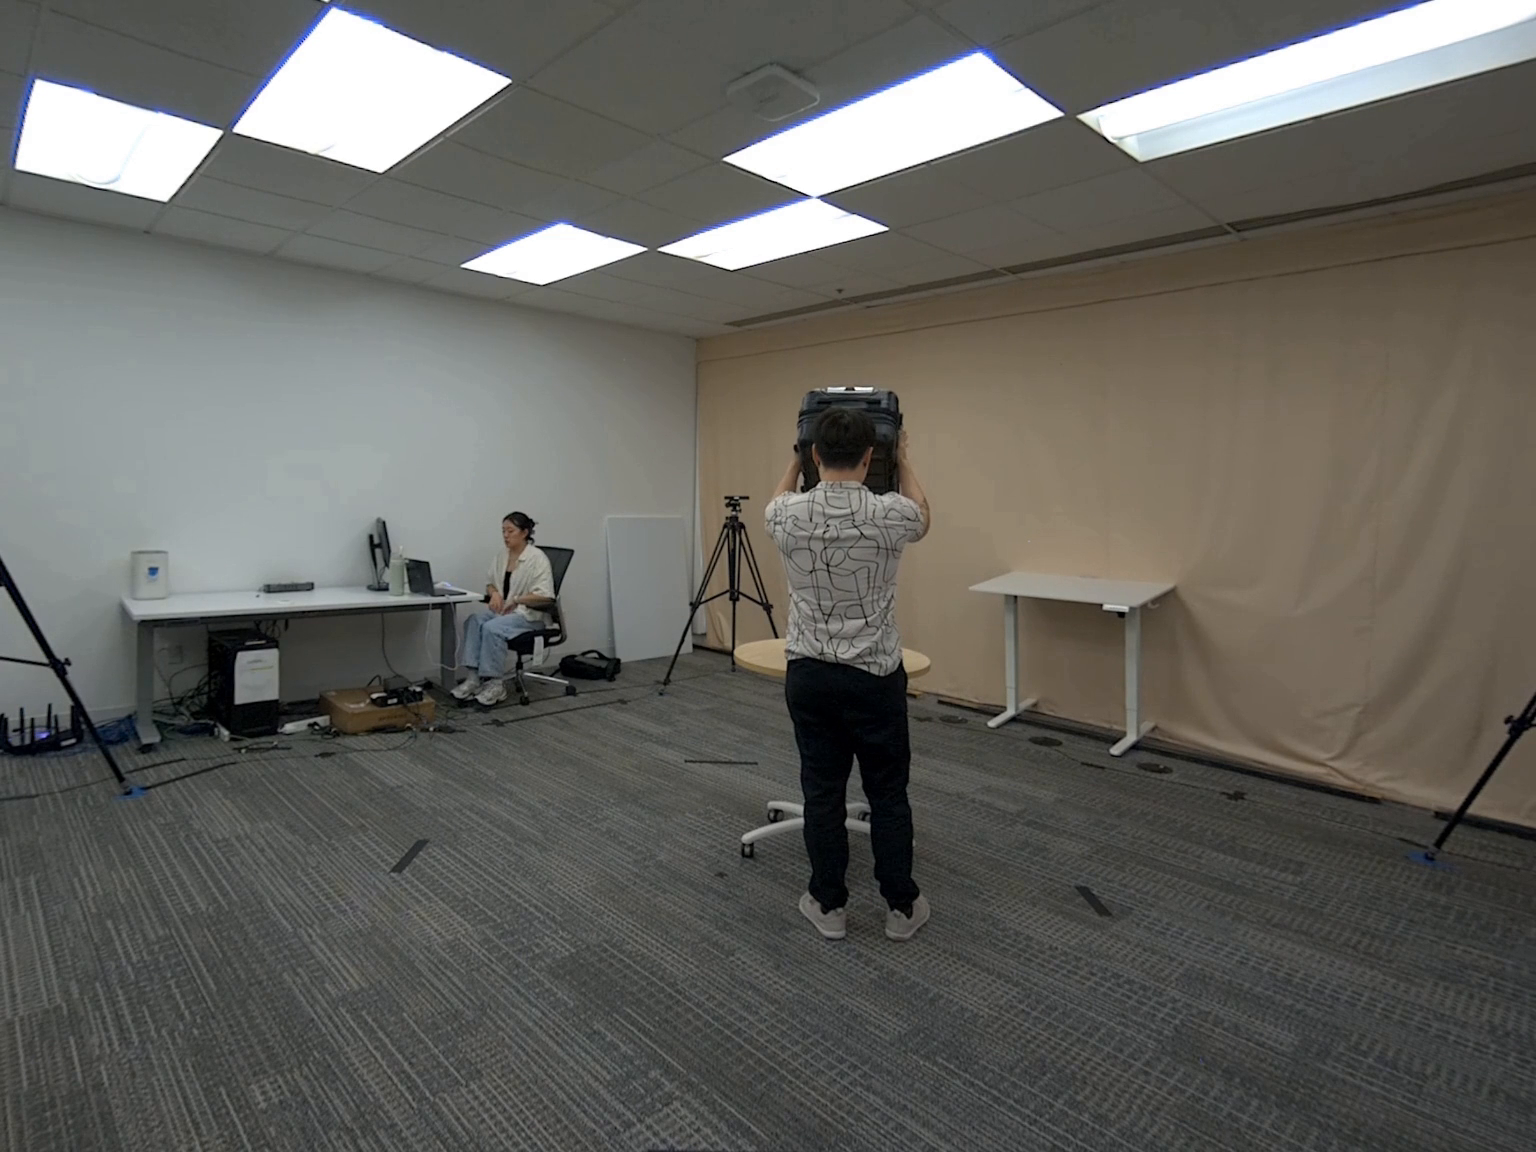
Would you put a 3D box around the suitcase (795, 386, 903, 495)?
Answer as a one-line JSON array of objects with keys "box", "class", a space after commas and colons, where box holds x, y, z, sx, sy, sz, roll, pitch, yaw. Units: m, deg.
[{"box": [0.303, -0.436, 3.073, 0.379, 0.252, 0.536, 2, -29, 11], "class": "suitcase"}]
